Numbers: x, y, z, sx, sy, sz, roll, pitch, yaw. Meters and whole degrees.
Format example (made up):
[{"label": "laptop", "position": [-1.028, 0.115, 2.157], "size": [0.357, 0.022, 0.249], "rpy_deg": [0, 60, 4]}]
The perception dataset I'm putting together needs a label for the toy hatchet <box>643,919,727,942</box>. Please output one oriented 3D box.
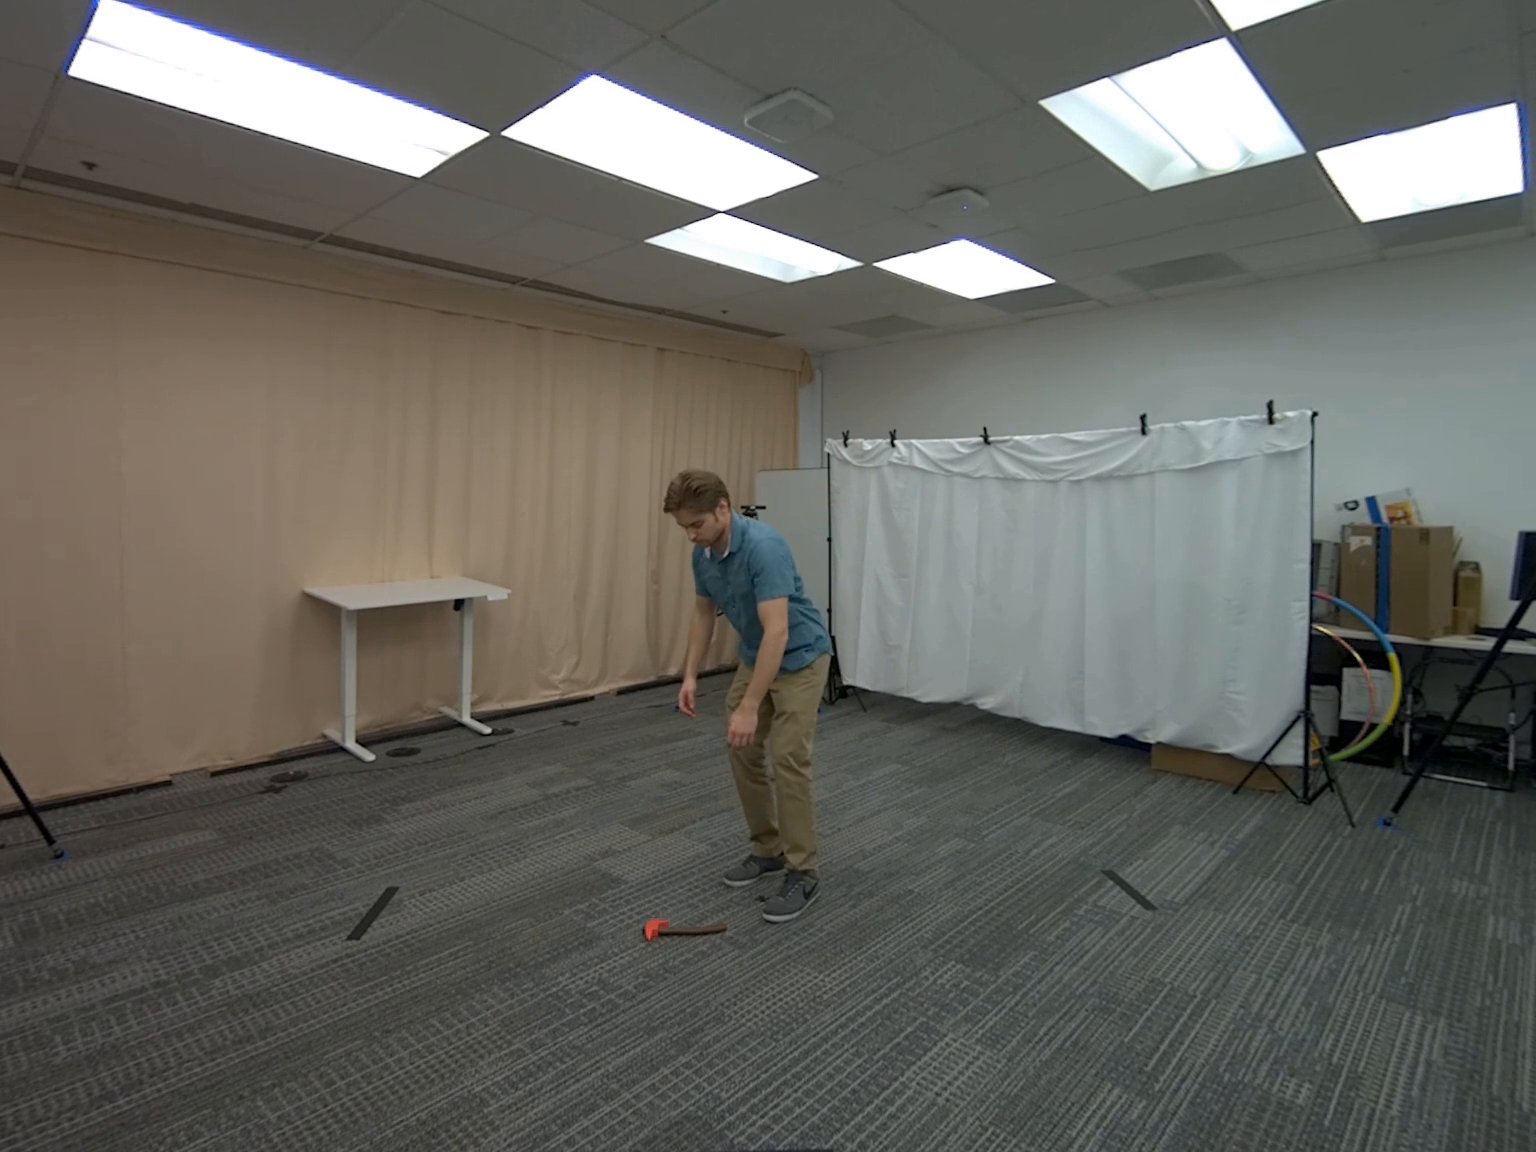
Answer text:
[{"label": "toy hatchet", "position": [-0.281, 1.155, 2.770], "size": [0.265, 0.029, 0.133], "rpy_deg": [0, 2, -18]}]
